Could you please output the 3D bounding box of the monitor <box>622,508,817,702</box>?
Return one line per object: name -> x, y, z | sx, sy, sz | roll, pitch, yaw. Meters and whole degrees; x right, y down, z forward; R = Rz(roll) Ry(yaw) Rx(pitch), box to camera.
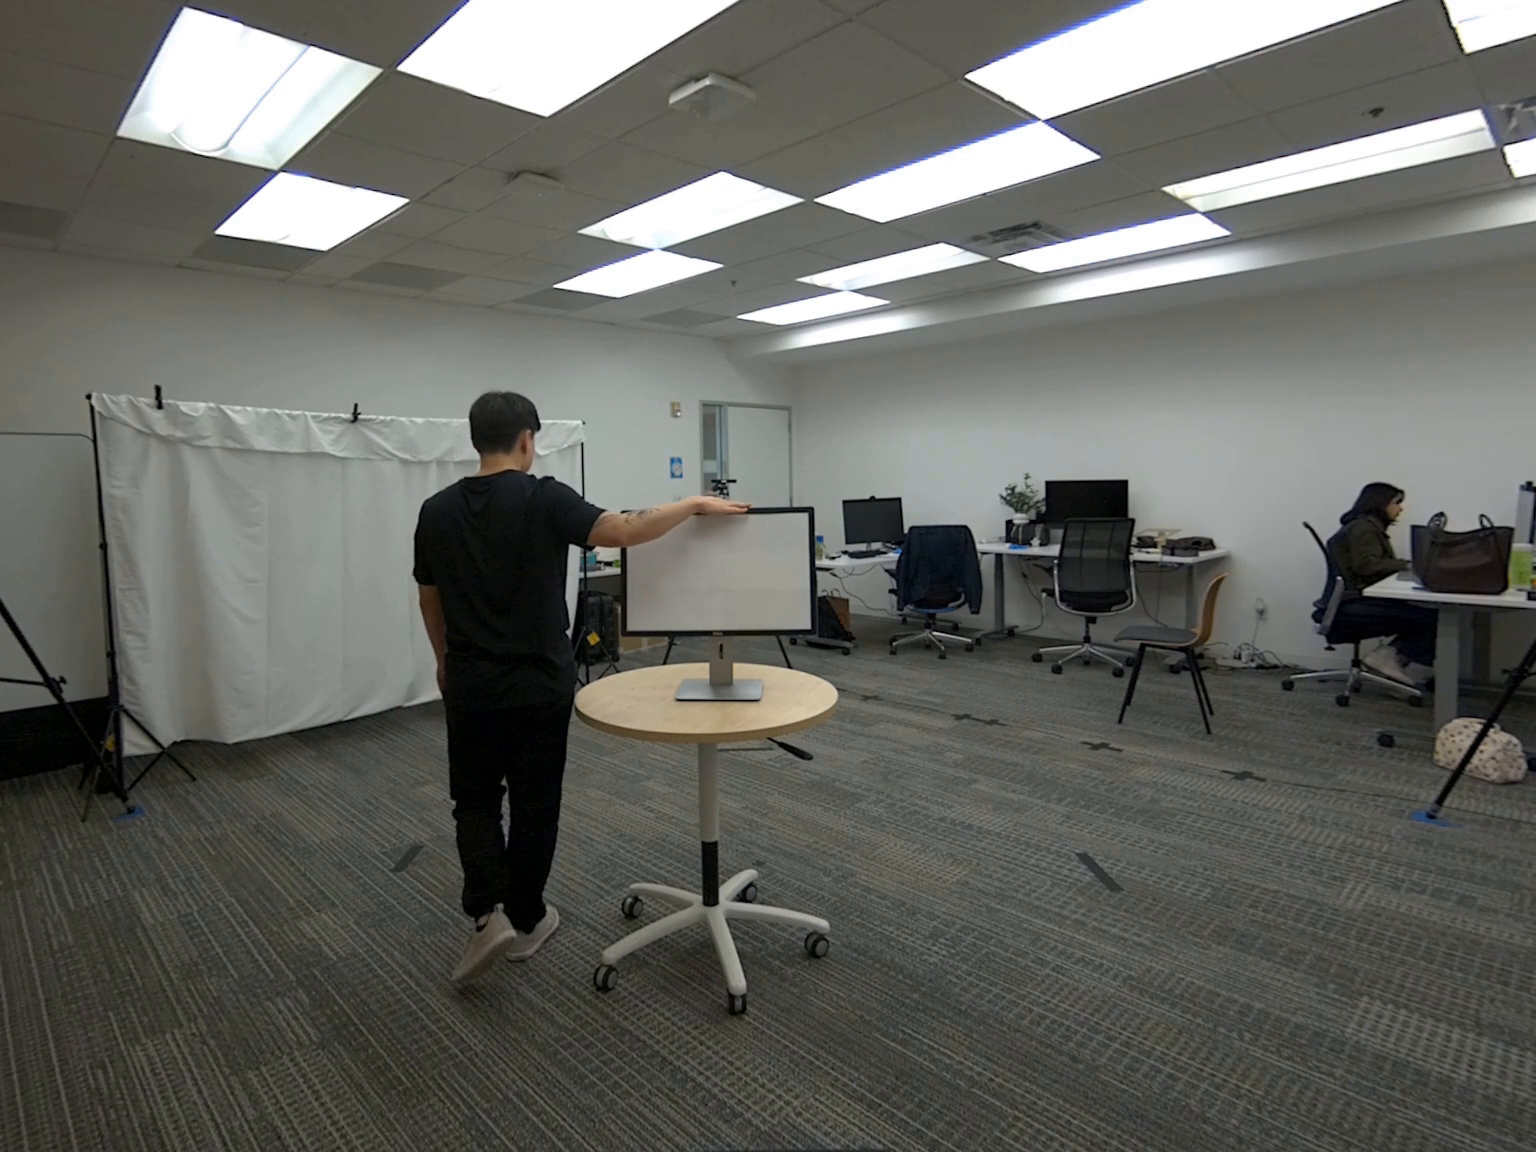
monitor -> -0.136, 0.079, 2.489 | 0.540, 0.519, 0.188 | -2, 7, 3
